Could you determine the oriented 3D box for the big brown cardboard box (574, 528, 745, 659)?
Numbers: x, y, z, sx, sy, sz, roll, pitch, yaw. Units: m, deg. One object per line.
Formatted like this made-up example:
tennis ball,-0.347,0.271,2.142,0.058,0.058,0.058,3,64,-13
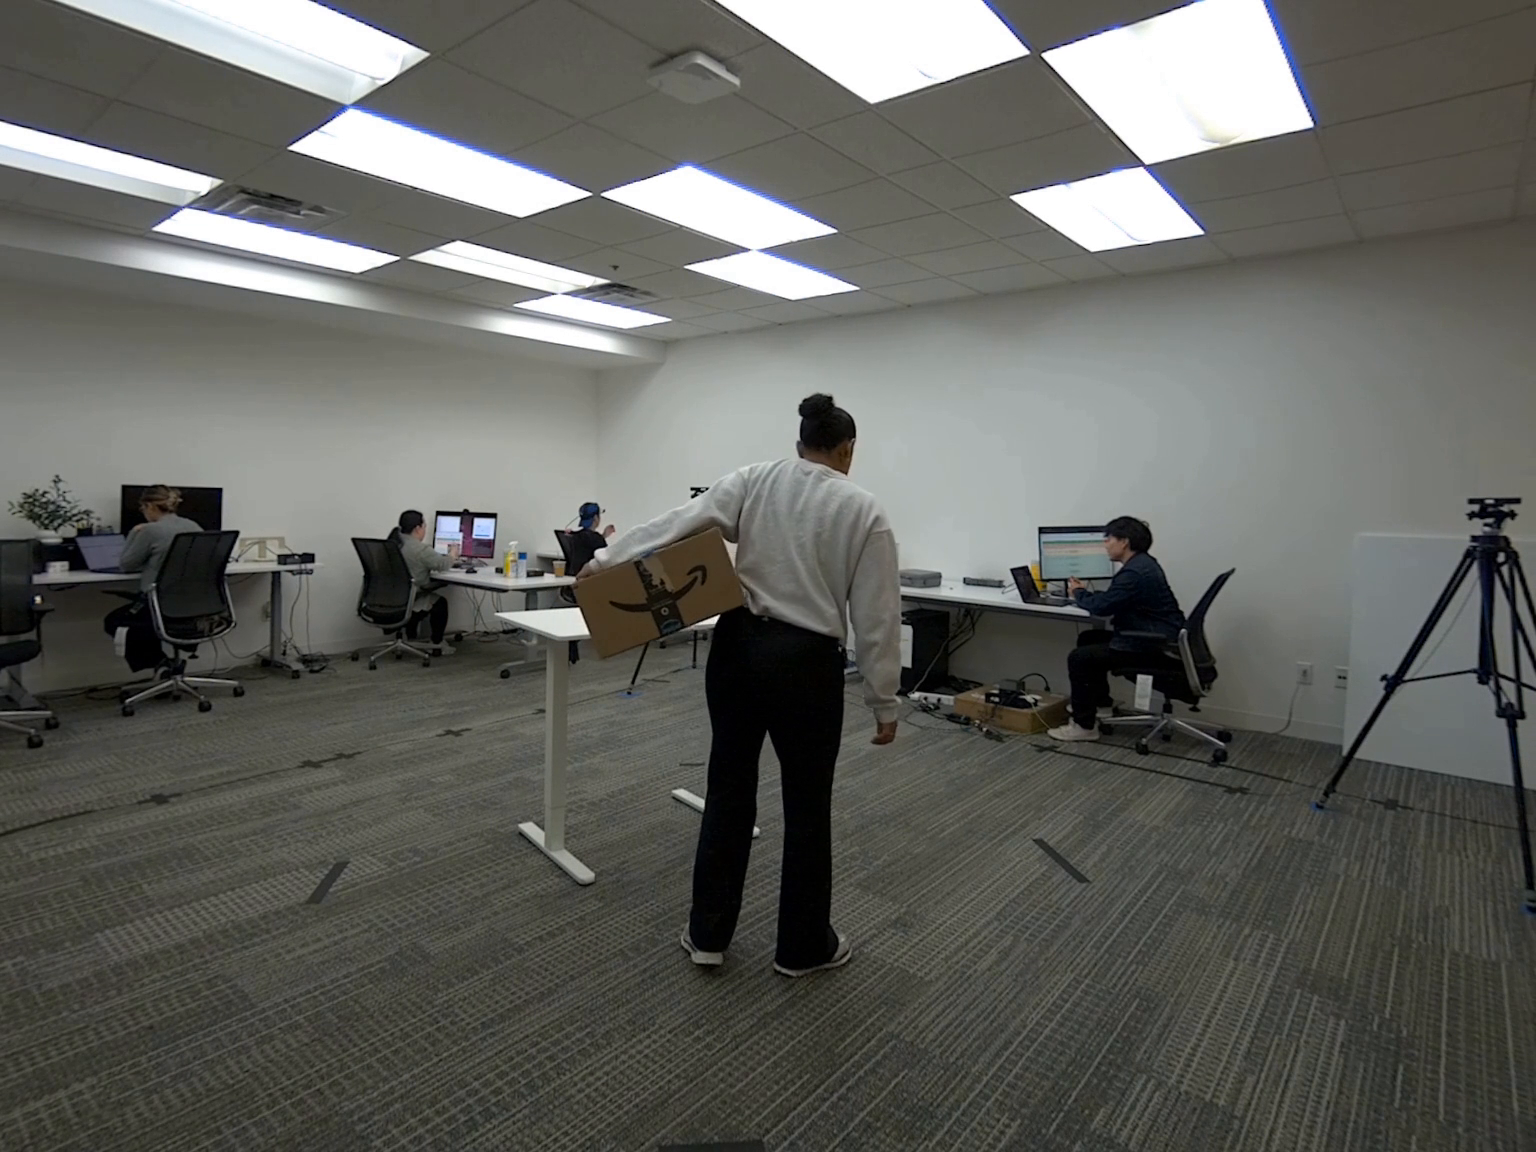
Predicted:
big brown cardboard box,-0.334,0.027,2.486,0.417,0.232,0.594,-21,6,-4
